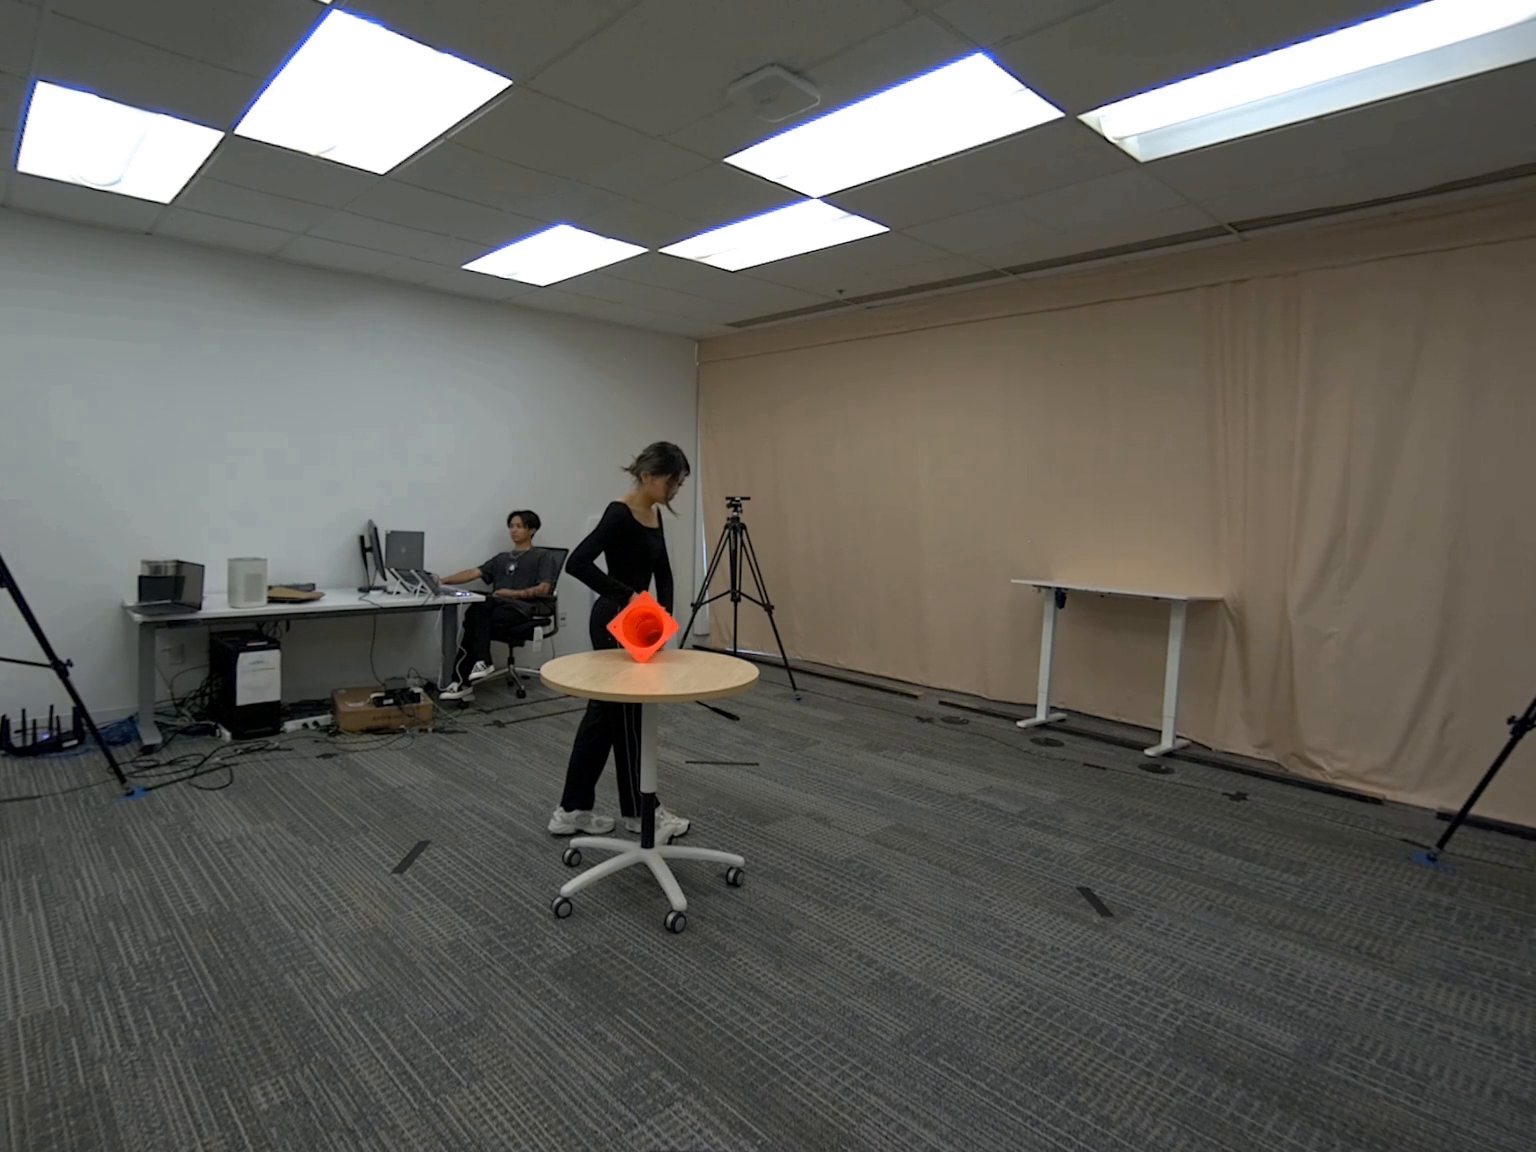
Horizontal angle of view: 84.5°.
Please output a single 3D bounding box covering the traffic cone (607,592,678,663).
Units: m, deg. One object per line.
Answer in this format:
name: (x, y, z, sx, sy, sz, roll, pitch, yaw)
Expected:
traffic cone: (-0.483, 0.244, 3.272, 0.204, 0.206, 0.379, -29, -13, -9)
